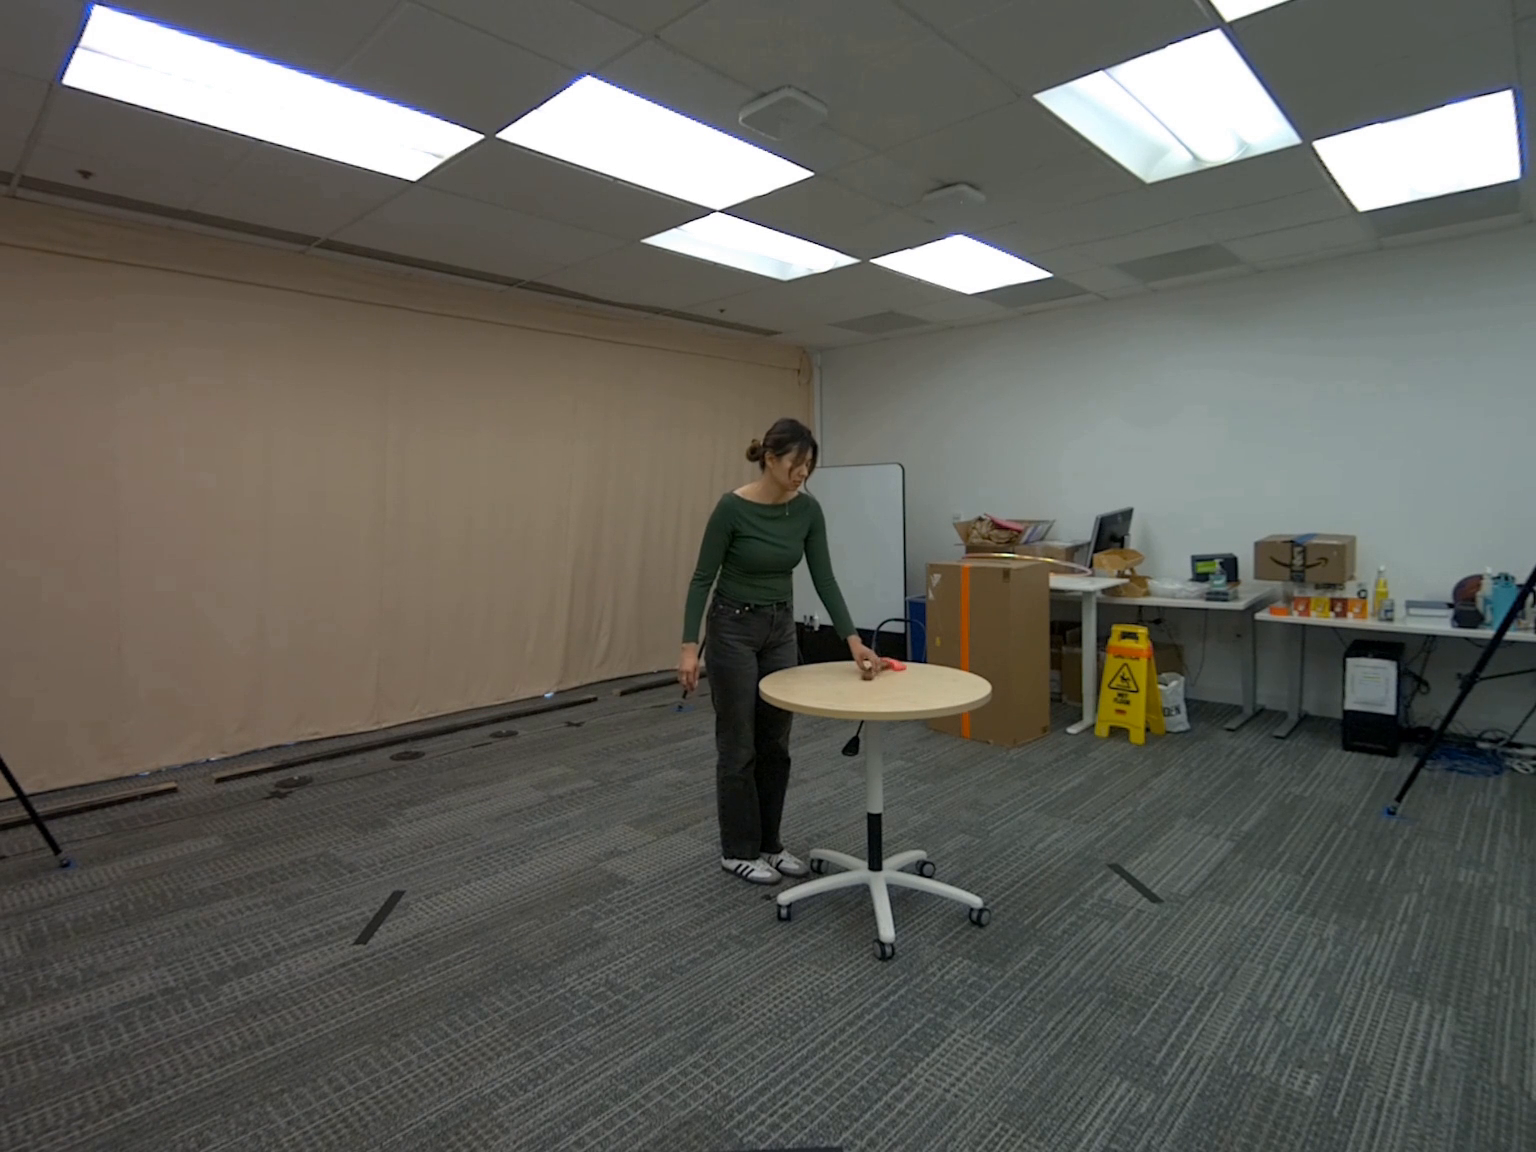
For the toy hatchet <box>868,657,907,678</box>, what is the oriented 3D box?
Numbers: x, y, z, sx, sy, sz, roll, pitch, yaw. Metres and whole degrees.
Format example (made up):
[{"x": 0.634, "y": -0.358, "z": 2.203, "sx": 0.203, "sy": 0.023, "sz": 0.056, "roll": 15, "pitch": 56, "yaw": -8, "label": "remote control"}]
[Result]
[{"x": 0.417, "y": 0.339, "z": 2.974, "sx": 0.133, "sy": 0.029, "sz": 0.266, "roll": 8, "pitch": 11, "yaw": 16, "label": "toy hatchet"}]
